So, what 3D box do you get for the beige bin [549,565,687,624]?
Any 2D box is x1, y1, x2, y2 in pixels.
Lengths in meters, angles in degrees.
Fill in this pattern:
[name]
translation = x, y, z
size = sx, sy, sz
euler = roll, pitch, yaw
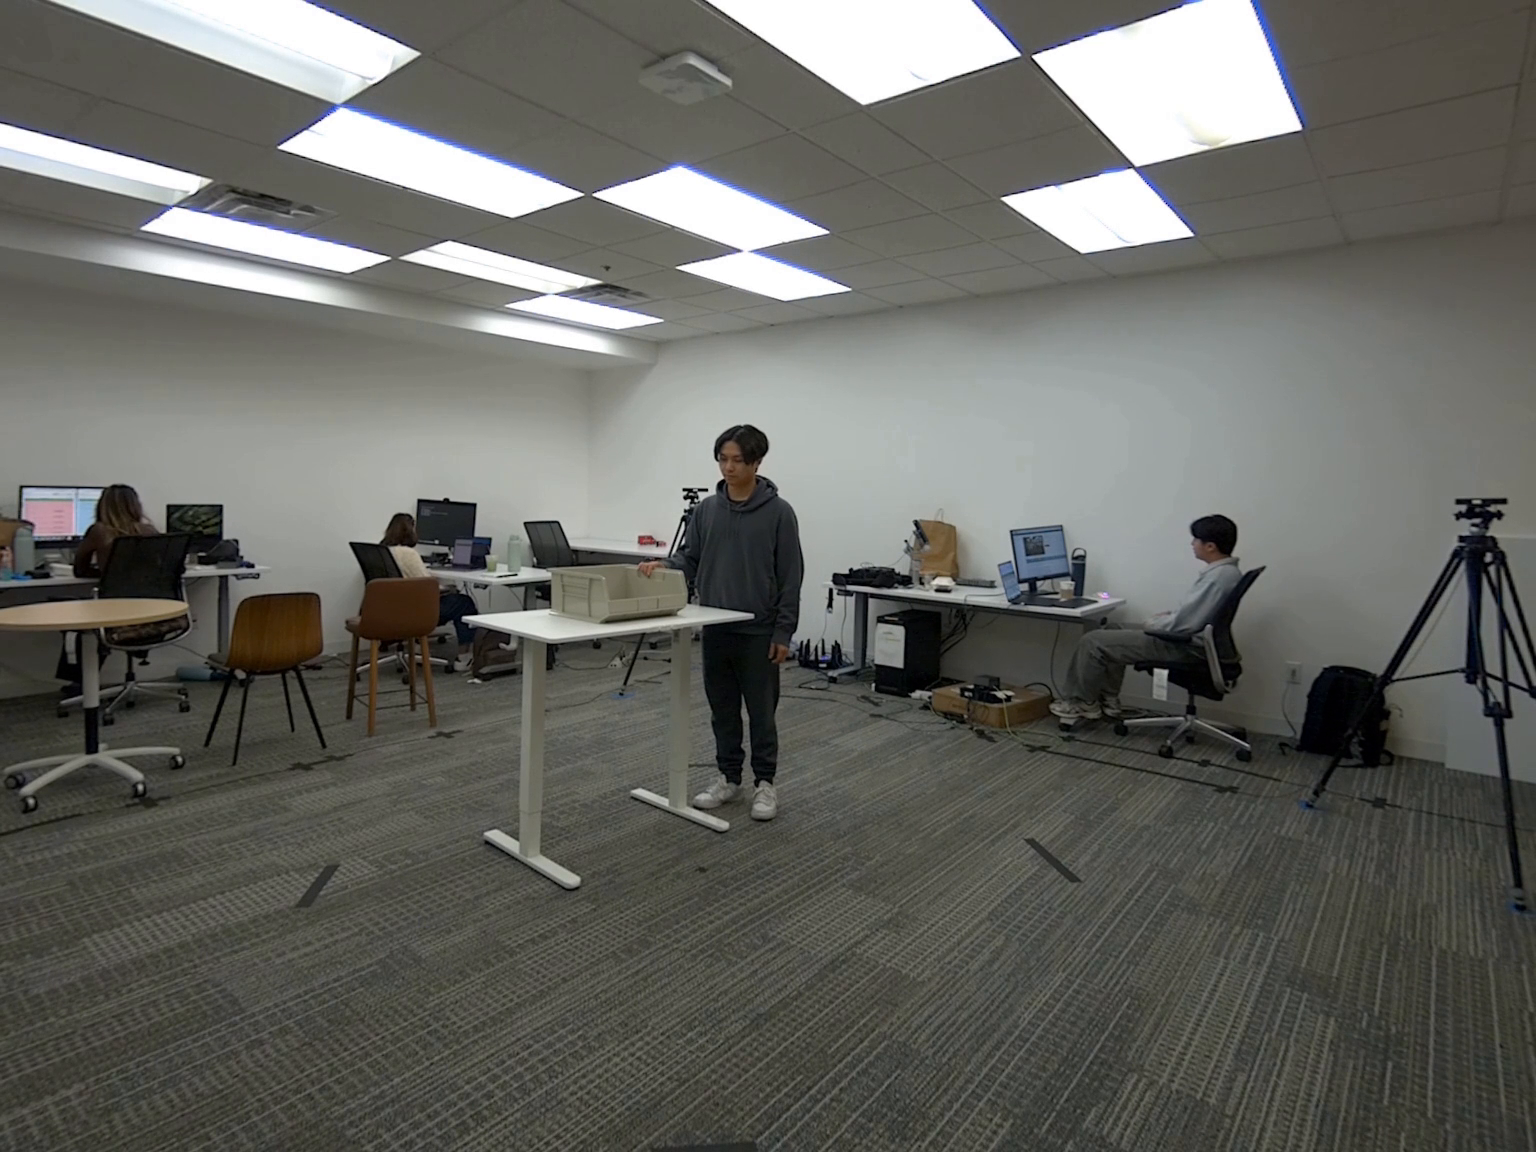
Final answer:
[beige bin]
translation = -0.608, 0.064, 3.383
size = 0.390, 0.188, 0.409
euler = 5, 6, 41
